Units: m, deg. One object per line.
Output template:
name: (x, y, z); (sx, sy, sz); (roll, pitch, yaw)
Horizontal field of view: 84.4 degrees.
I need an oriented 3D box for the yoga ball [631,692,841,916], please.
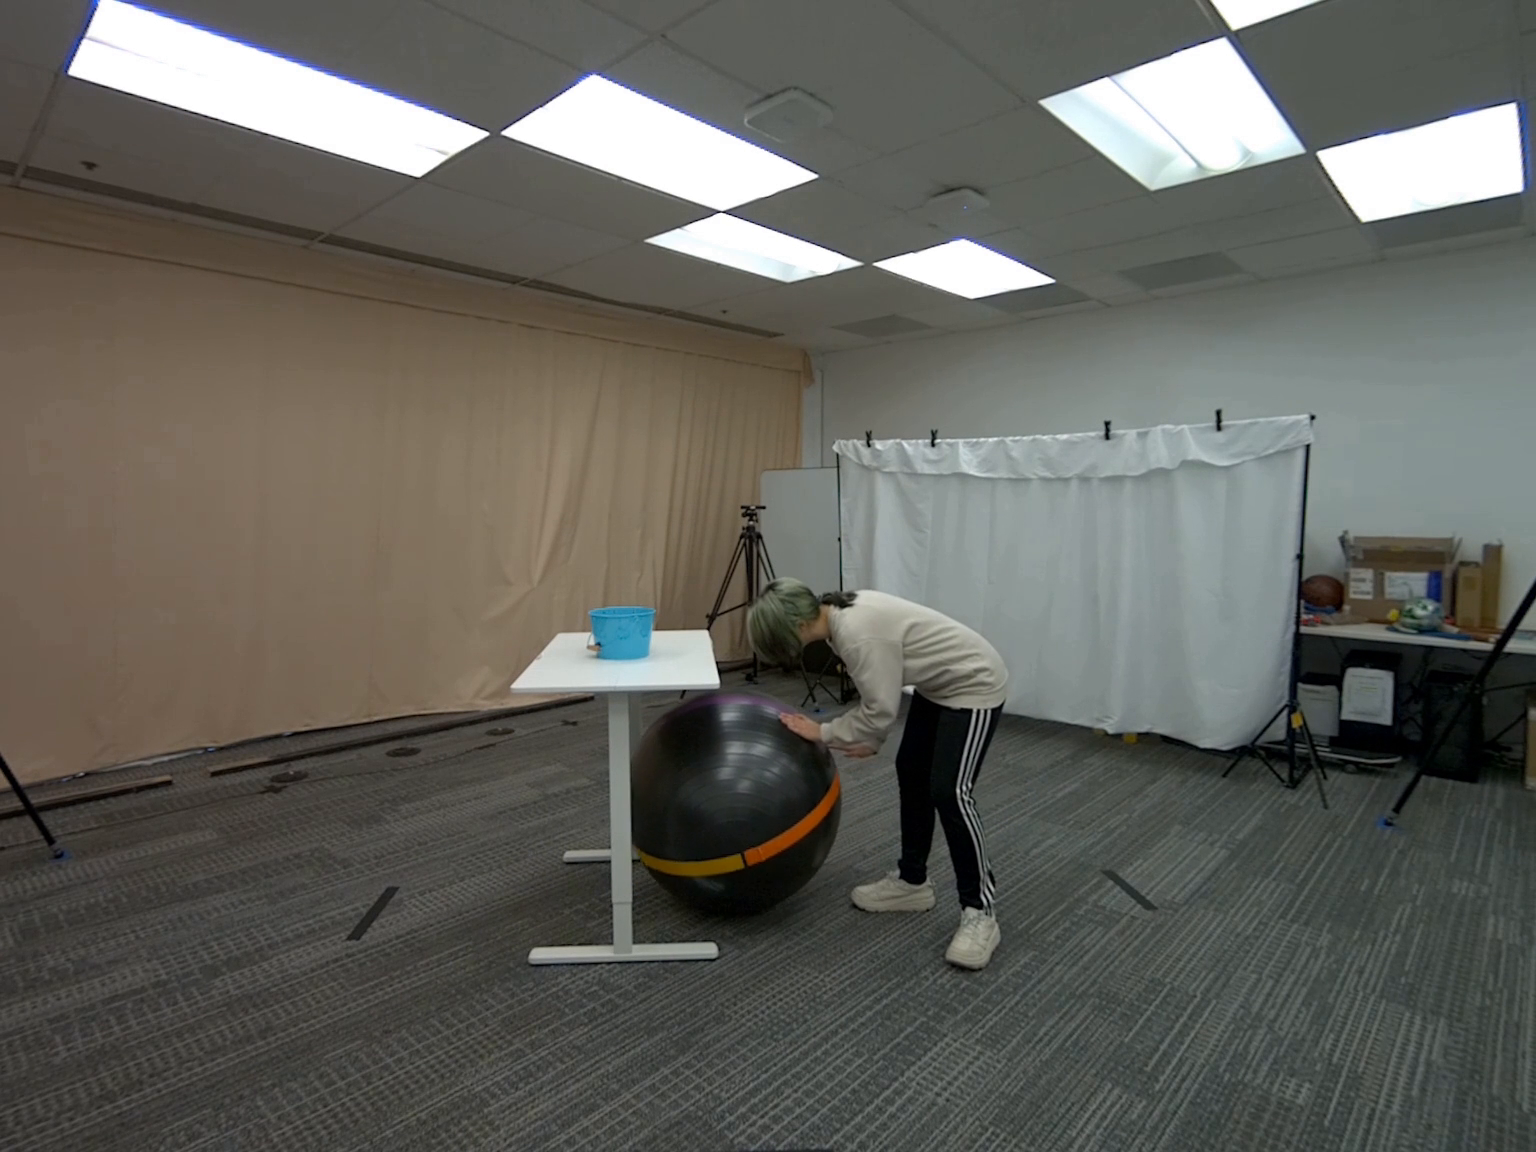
yoga ball: (-0.125, 0.781, 2.952); (0.757, 0.756, 0.760); (0, 4, -2)
